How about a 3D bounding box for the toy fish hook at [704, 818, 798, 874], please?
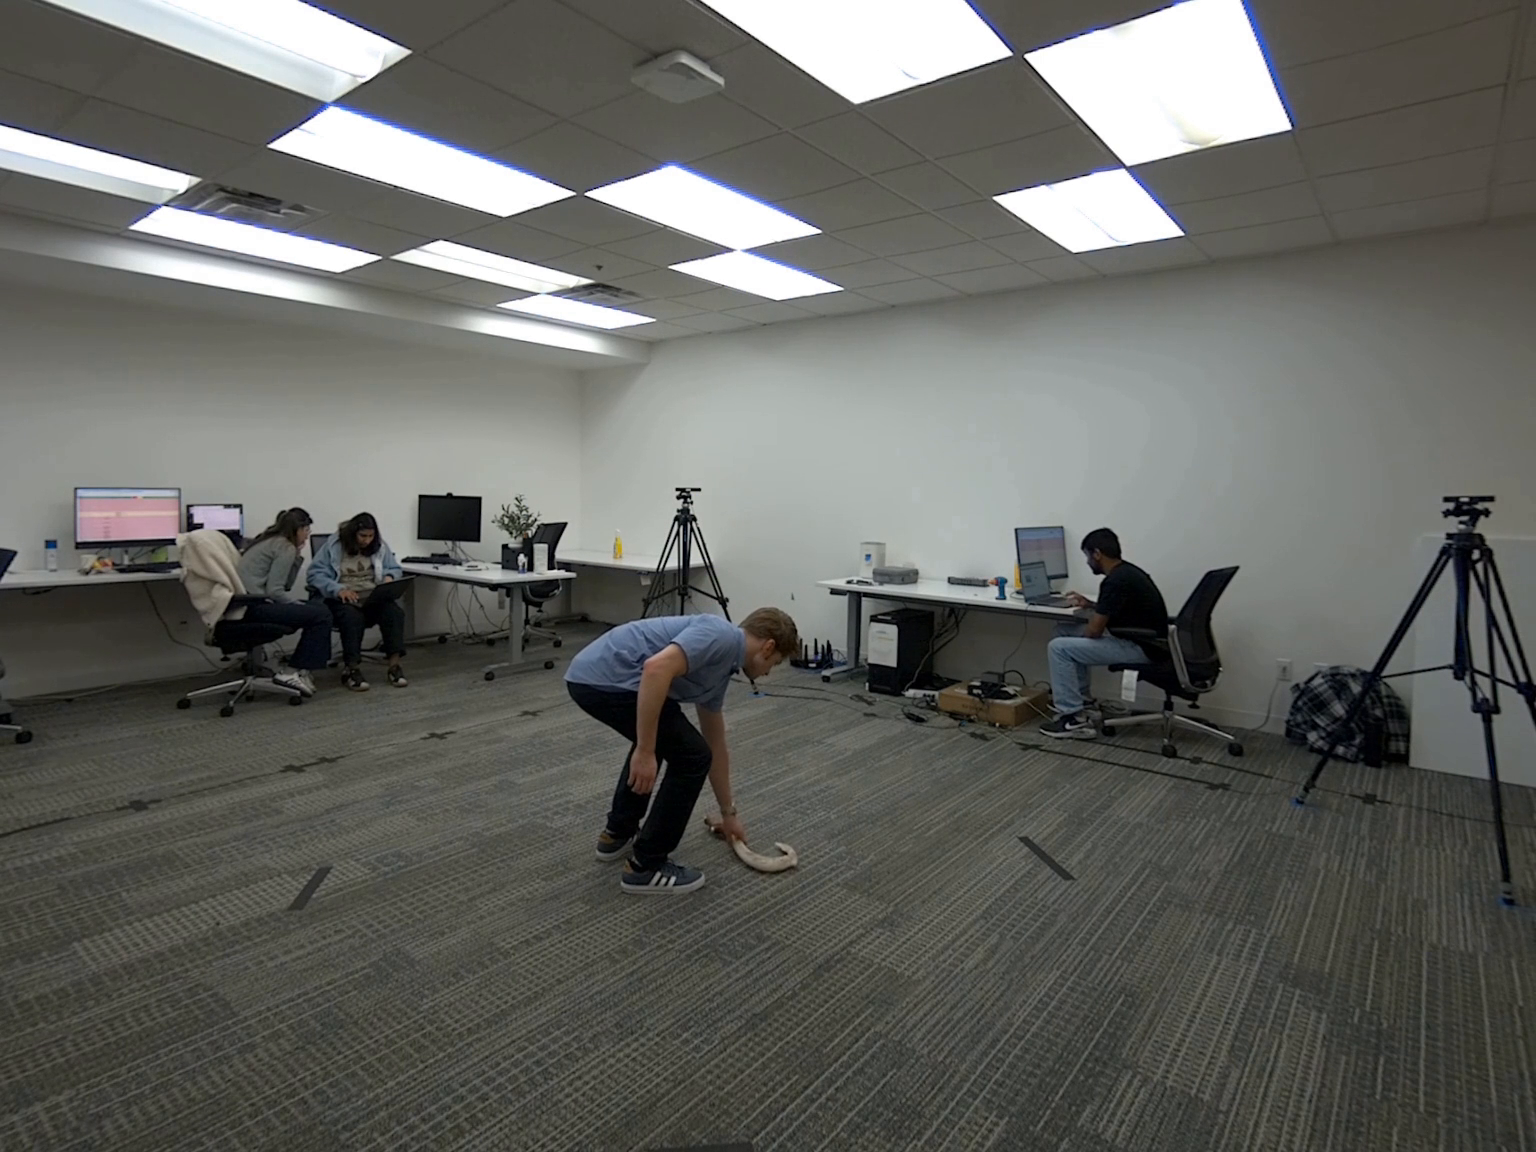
[{"bbox_3d":[-0.080,1.031,3.309,0.218,0.048,0.523,6,3,-33],"label":"toy fish hook"}]
